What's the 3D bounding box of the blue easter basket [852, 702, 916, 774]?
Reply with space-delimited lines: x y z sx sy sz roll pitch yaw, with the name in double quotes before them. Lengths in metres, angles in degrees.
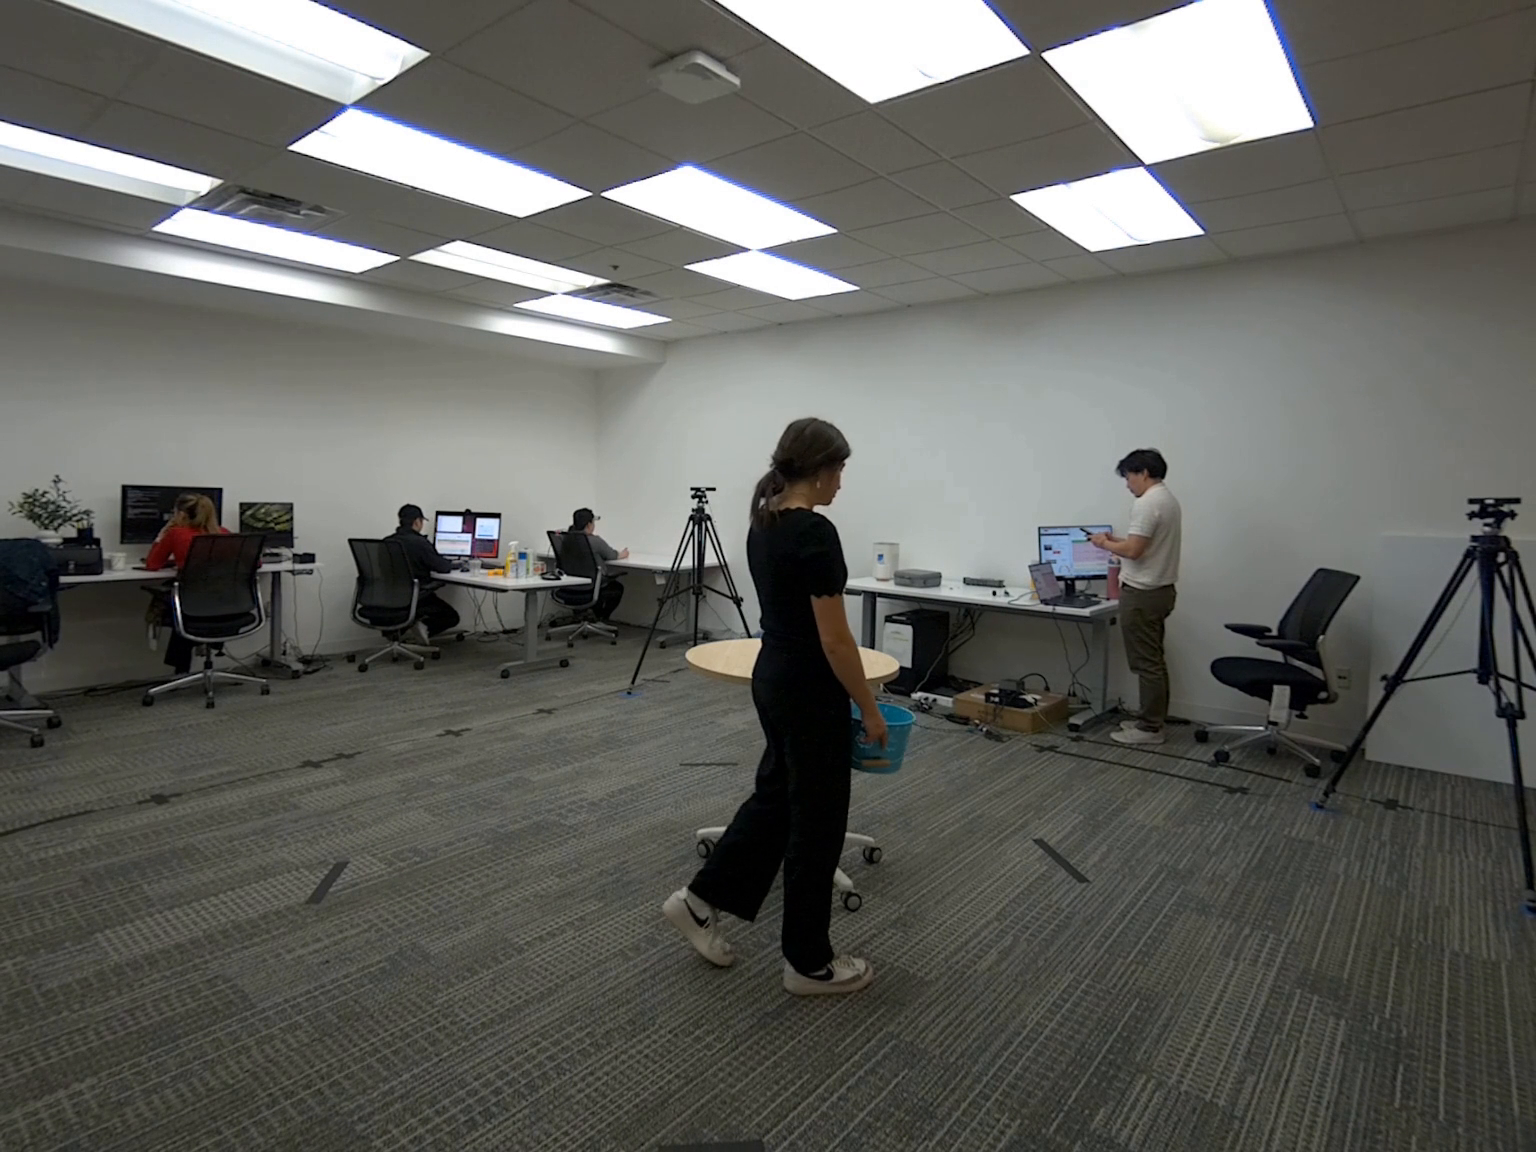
"blue easter basket" 0.284 0.466 2.458 0.243 0.155 0.245 6 5 -2
